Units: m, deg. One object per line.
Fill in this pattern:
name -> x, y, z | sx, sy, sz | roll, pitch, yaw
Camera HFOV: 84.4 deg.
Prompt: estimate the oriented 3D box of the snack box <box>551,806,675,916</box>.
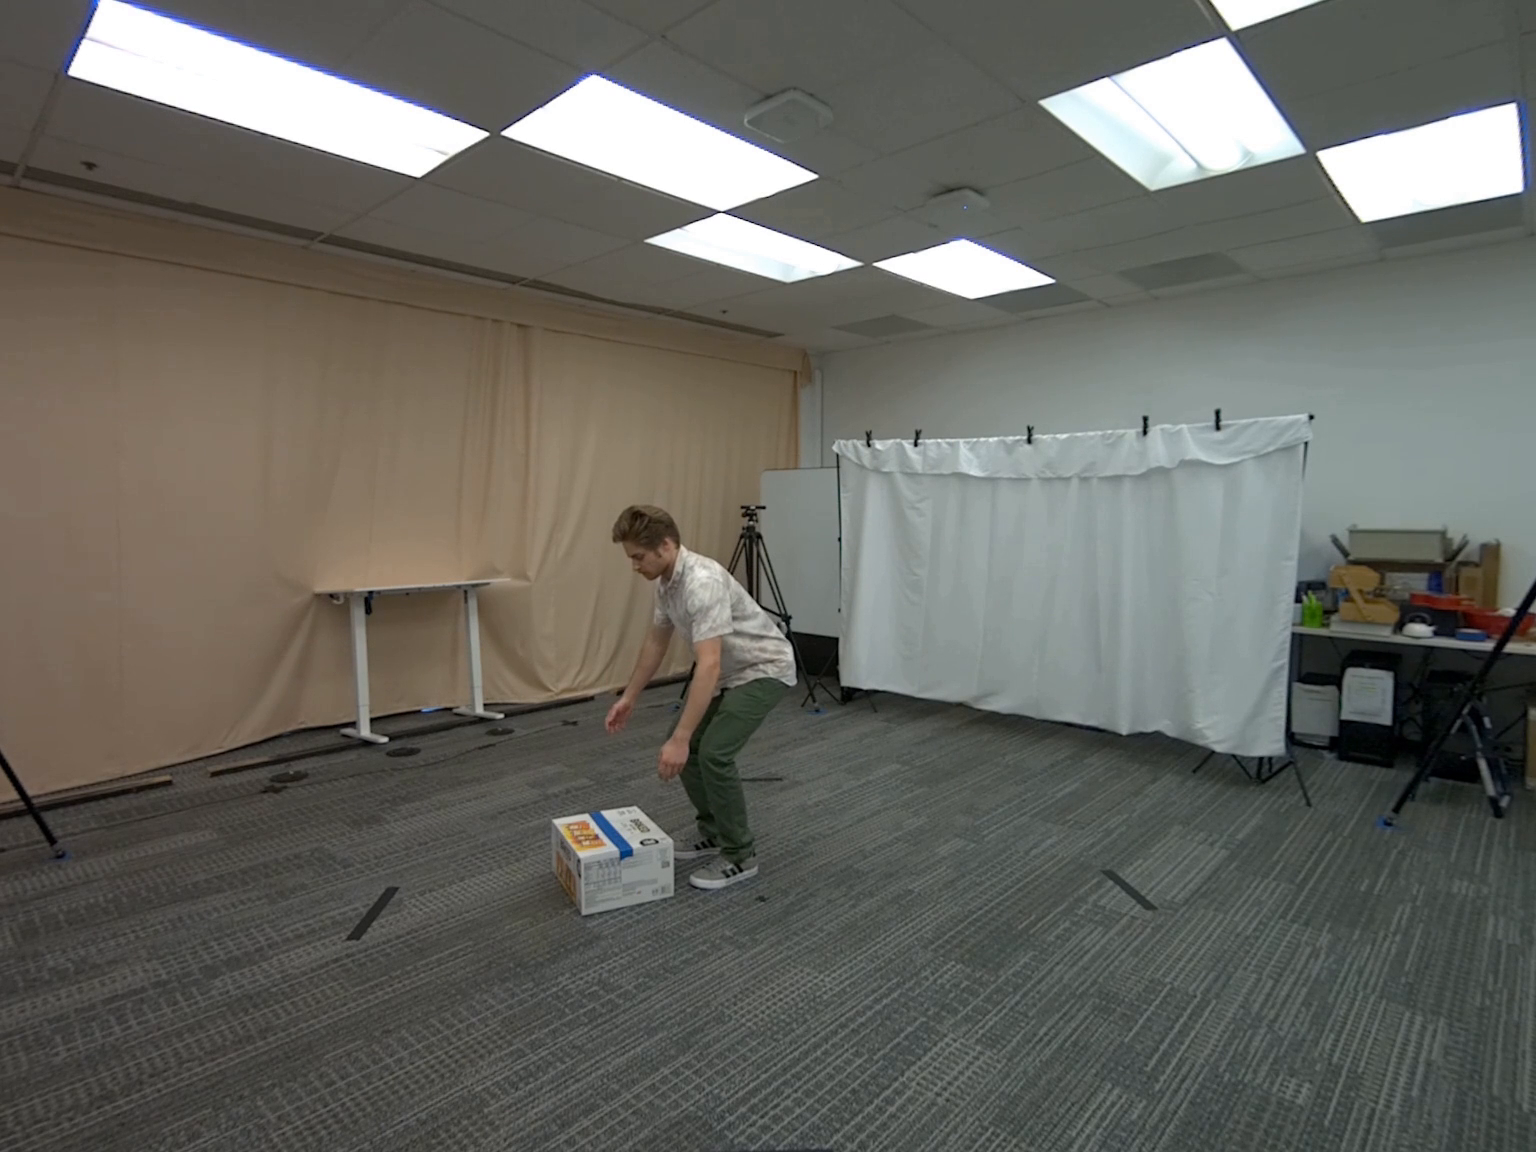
snack box -> -0.578, 1.036, 3.099 | 0.332, 0.205, 0.416 | -2, 4, -27
